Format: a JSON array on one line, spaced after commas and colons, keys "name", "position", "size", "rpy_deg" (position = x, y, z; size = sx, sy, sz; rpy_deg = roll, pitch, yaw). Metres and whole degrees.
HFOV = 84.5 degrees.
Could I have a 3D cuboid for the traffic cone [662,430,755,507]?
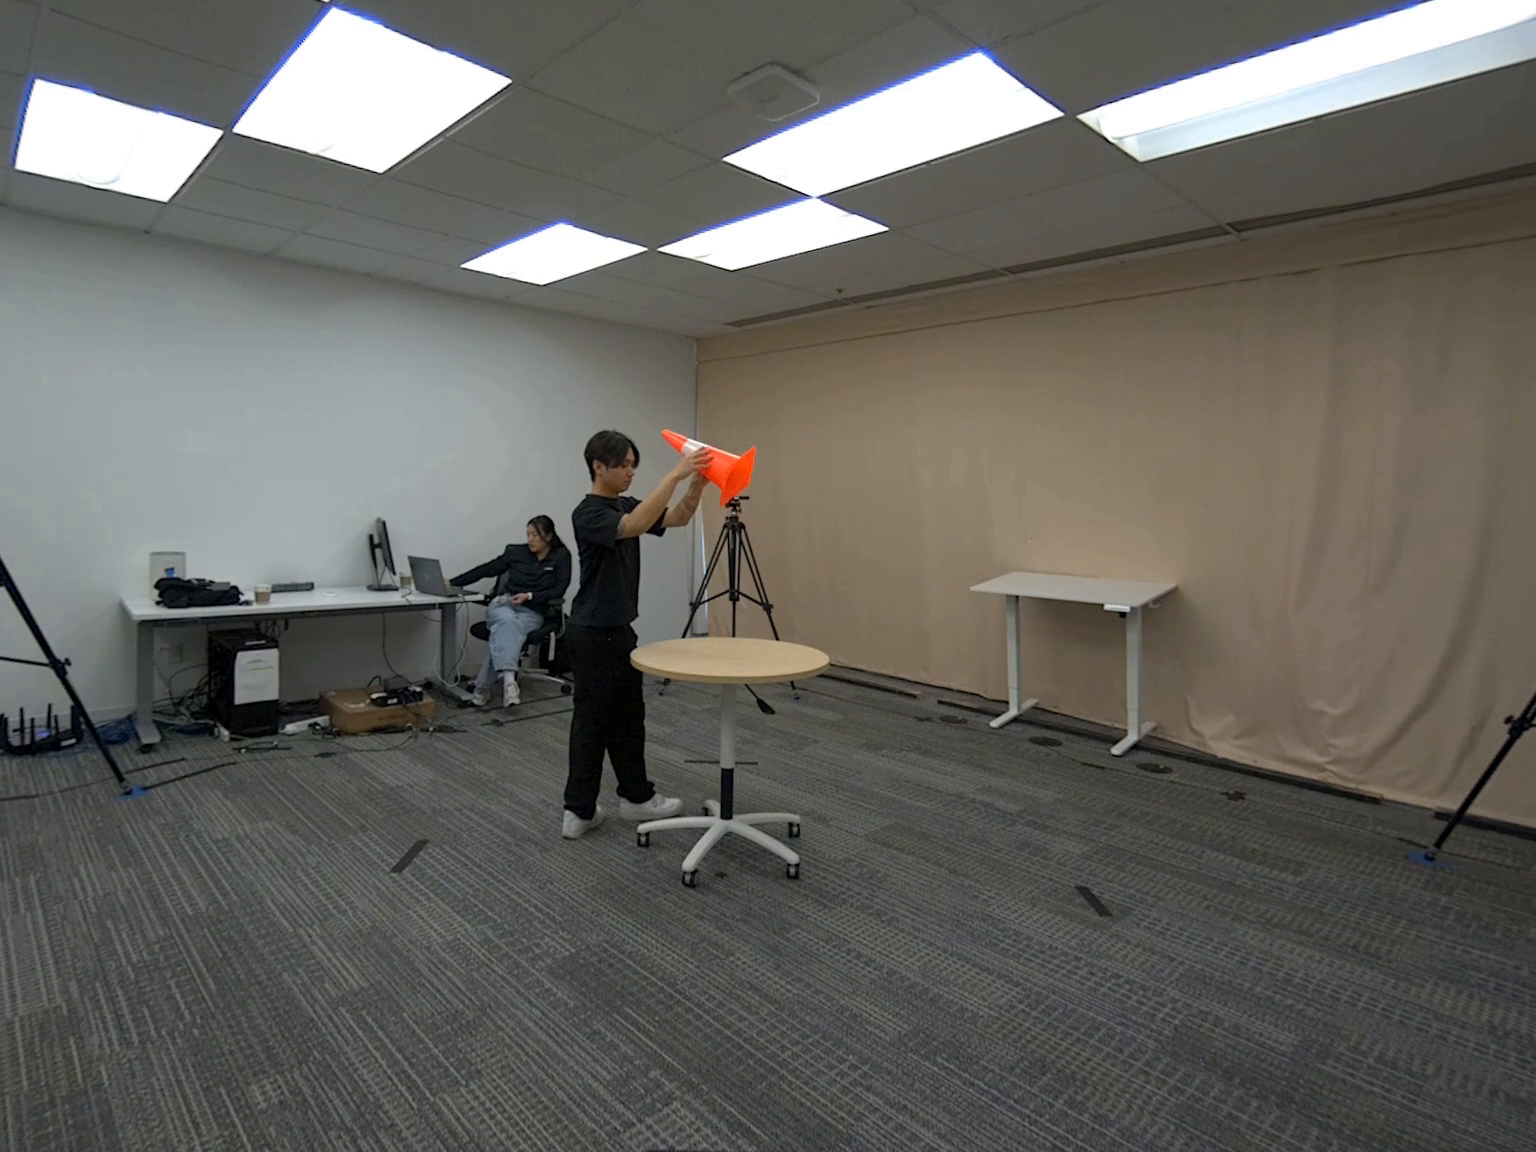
[{"name": "traffic cone", "position": [-0.266, -0.460, 3.318], "size": [0.392, 0.200, 0.204], "rpy_deg": [35, 47, 21]}]
